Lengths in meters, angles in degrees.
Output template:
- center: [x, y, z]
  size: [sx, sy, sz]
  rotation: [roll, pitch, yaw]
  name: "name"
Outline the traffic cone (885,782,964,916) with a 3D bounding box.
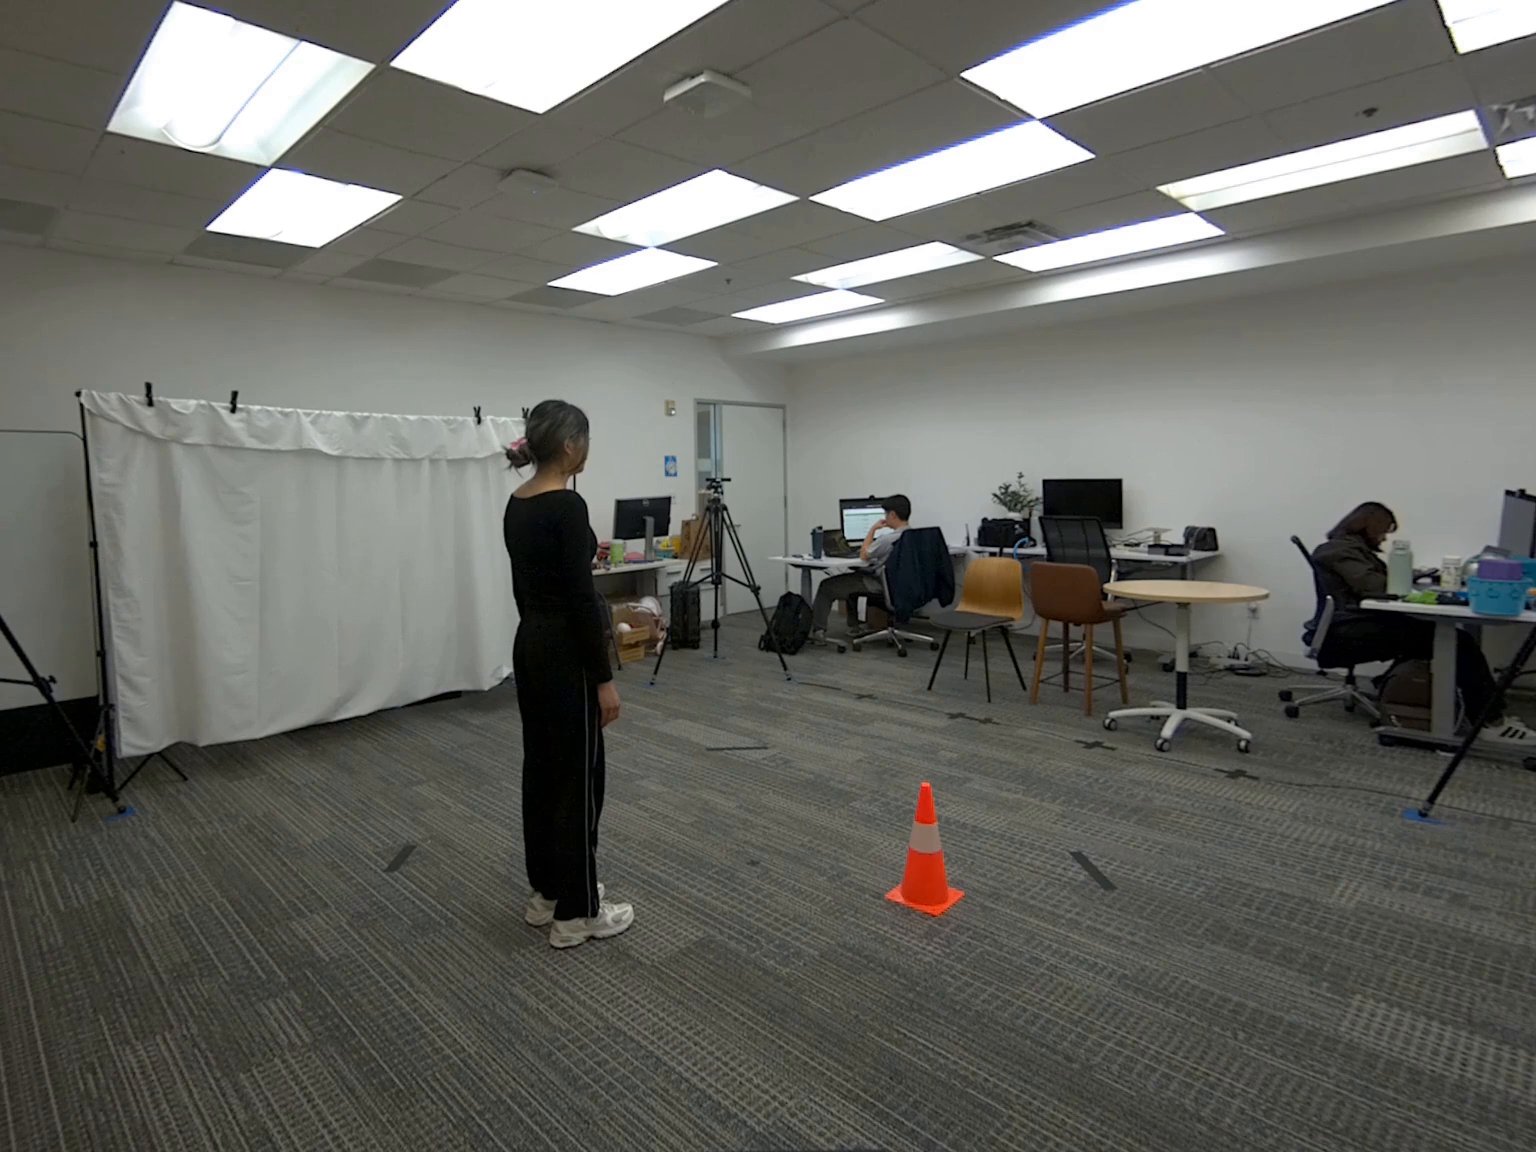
- center: [0.522, 0.879, 2.830]
  size: [0.209, 0.382, 0.200]
  rotation: [2, 6, 45]
  name: "traffic cone"
